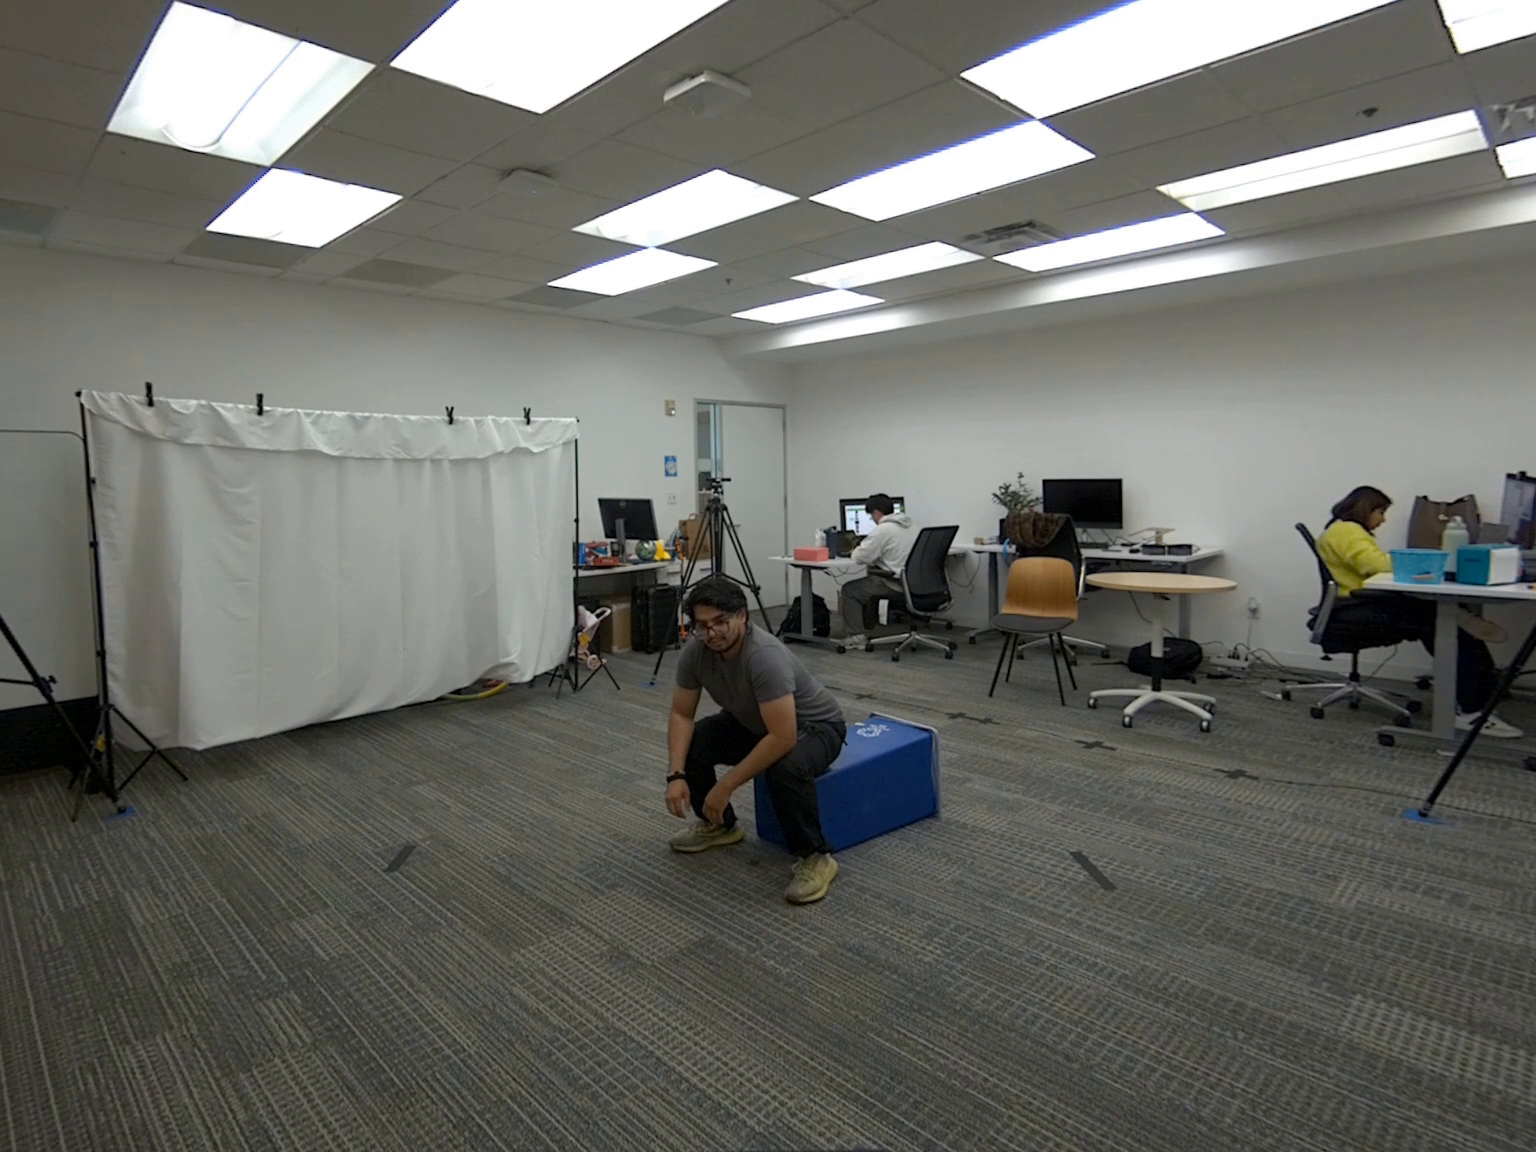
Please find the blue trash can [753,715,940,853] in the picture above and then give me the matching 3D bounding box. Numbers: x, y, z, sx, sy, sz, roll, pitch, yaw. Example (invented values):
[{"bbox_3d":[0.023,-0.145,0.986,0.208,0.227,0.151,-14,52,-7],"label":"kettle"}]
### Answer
[{"bbox_3d":[0.322,0.826,3.411,0.696,0.372,0.389,-8,8,-39],"label":"blue trash can"}]
